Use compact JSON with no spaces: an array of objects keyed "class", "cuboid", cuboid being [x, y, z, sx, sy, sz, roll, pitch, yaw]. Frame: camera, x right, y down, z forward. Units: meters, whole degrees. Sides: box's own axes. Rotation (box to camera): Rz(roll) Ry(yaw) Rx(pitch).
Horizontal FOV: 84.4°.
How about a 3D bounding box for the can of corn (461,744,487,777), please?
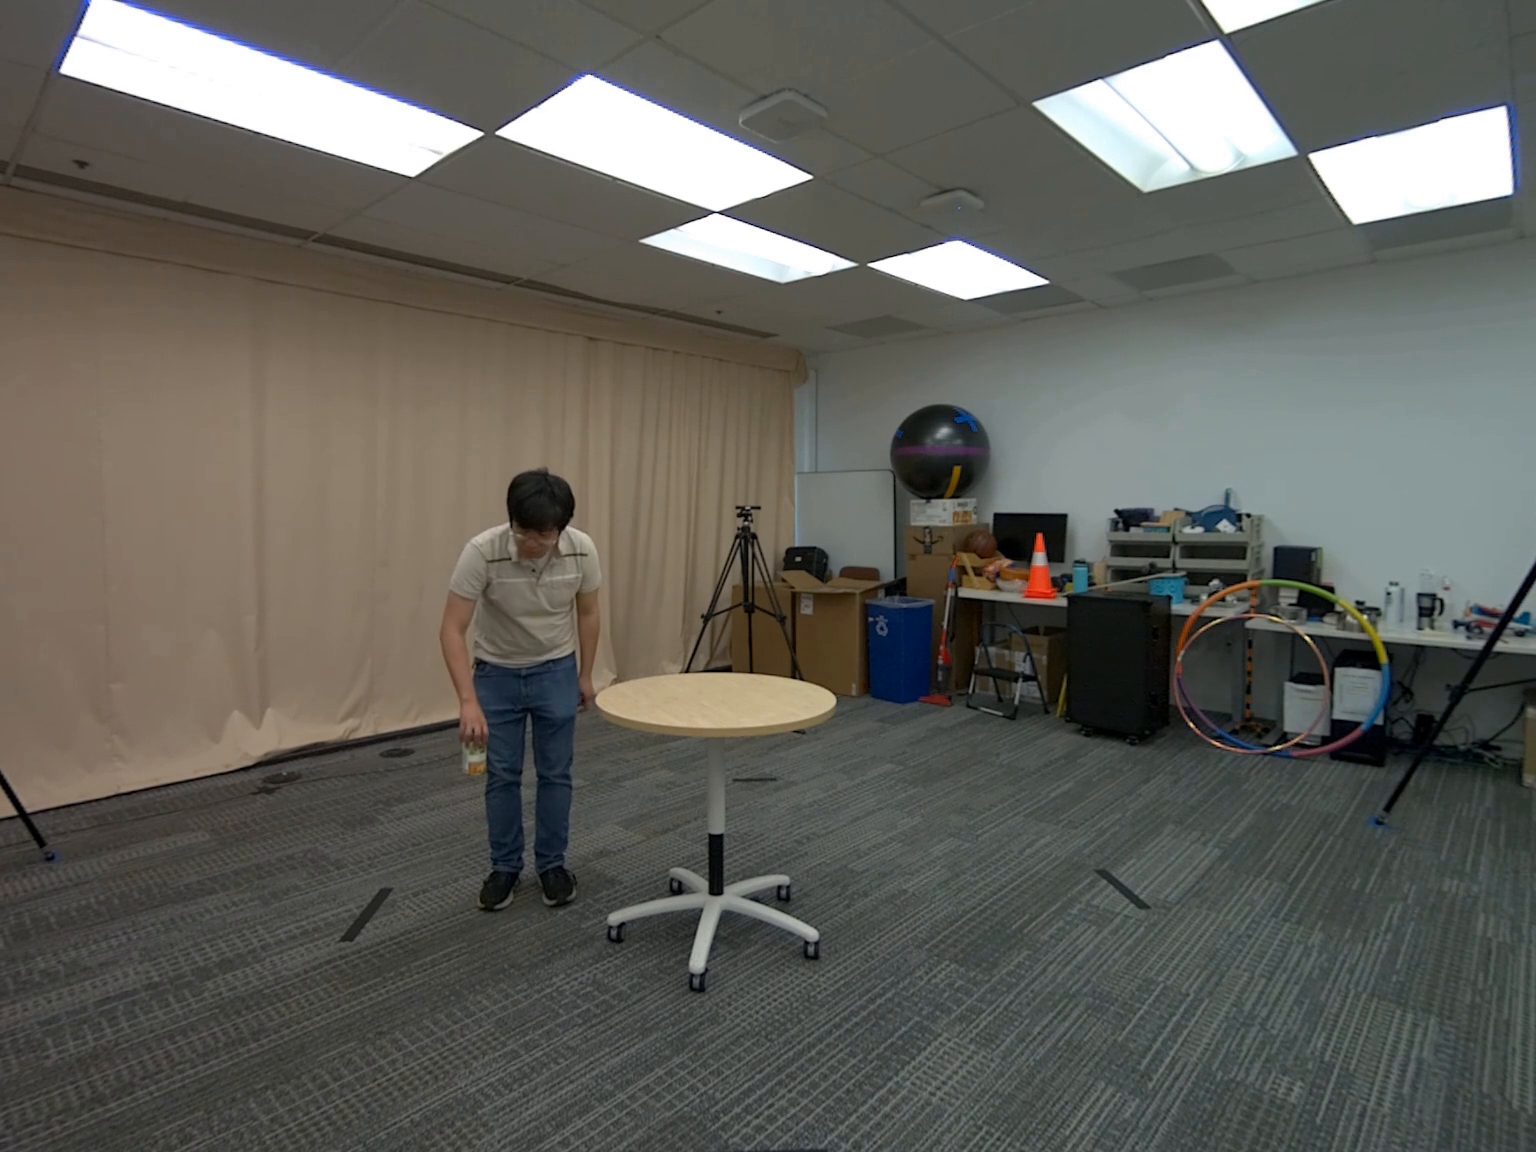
[{"class":"can of corn","cuboid":[-0.931,0.576,2.701,0.074,0.111,0.074,0,1,-2]}]
